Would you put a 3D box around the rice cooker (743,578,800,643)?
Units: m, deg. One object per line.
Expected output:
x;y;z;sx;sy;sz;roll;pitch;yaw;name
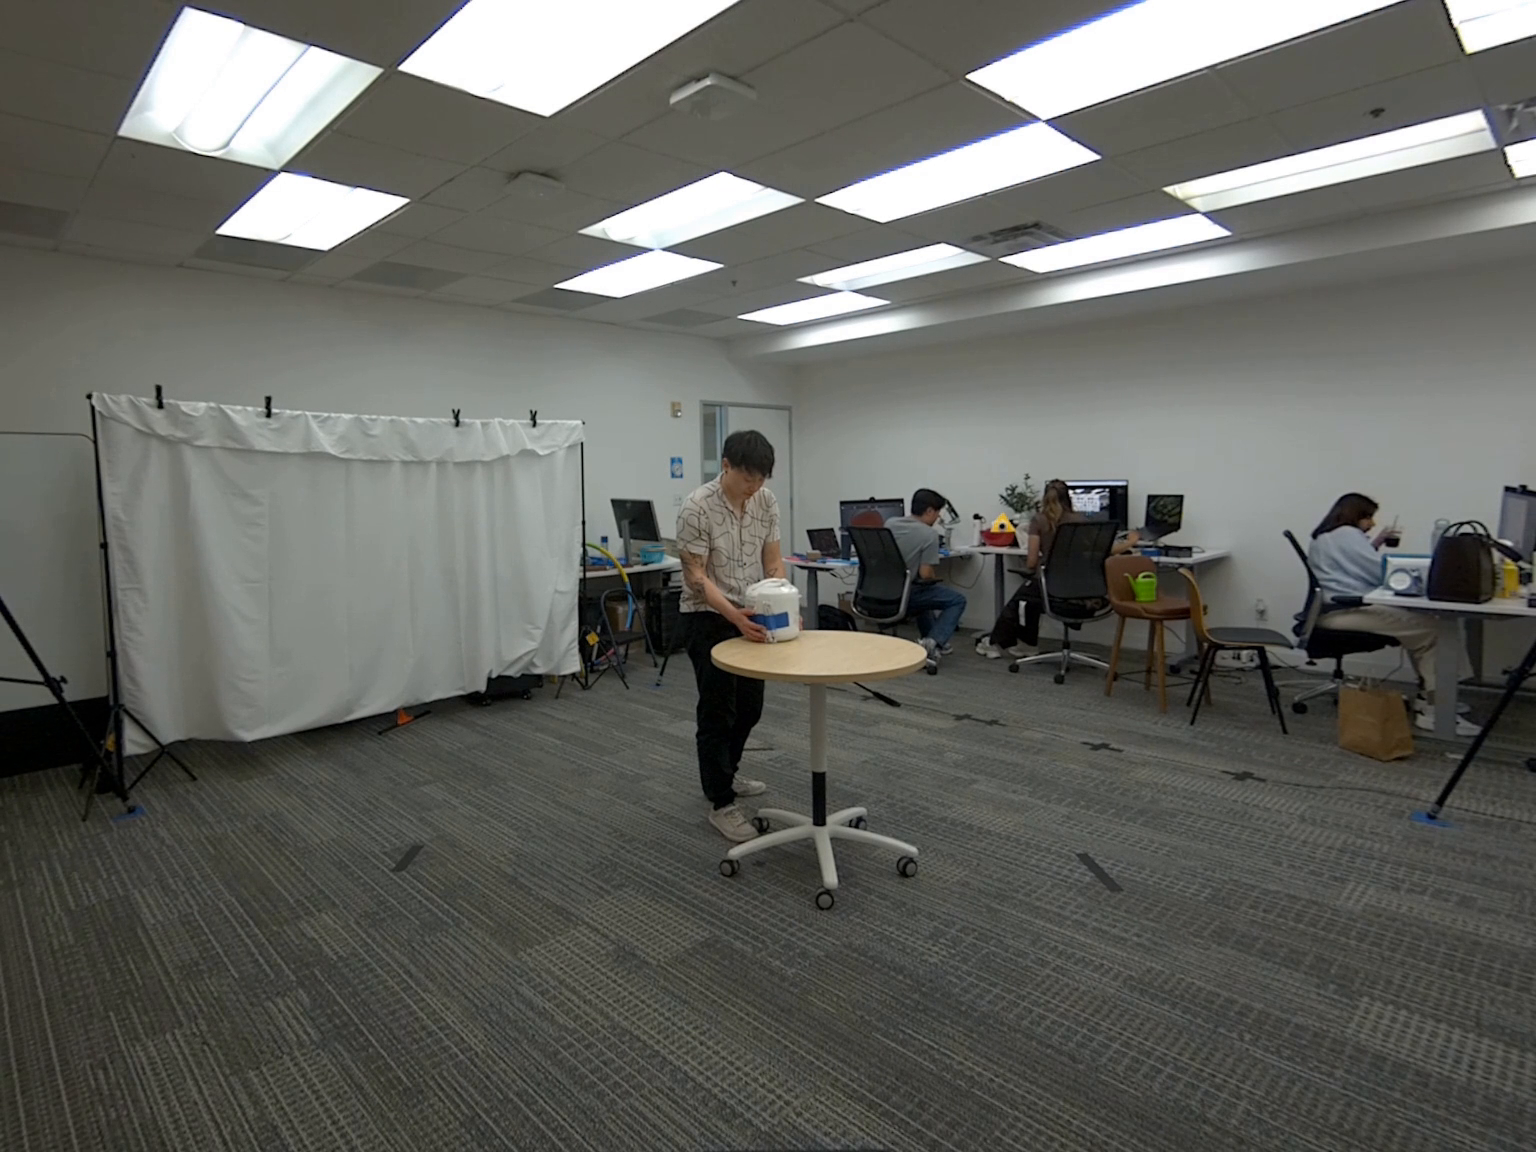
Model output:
0.014;0.128;3.290;0.215;0.232;0.224;-4;6;-37;rice cooker
